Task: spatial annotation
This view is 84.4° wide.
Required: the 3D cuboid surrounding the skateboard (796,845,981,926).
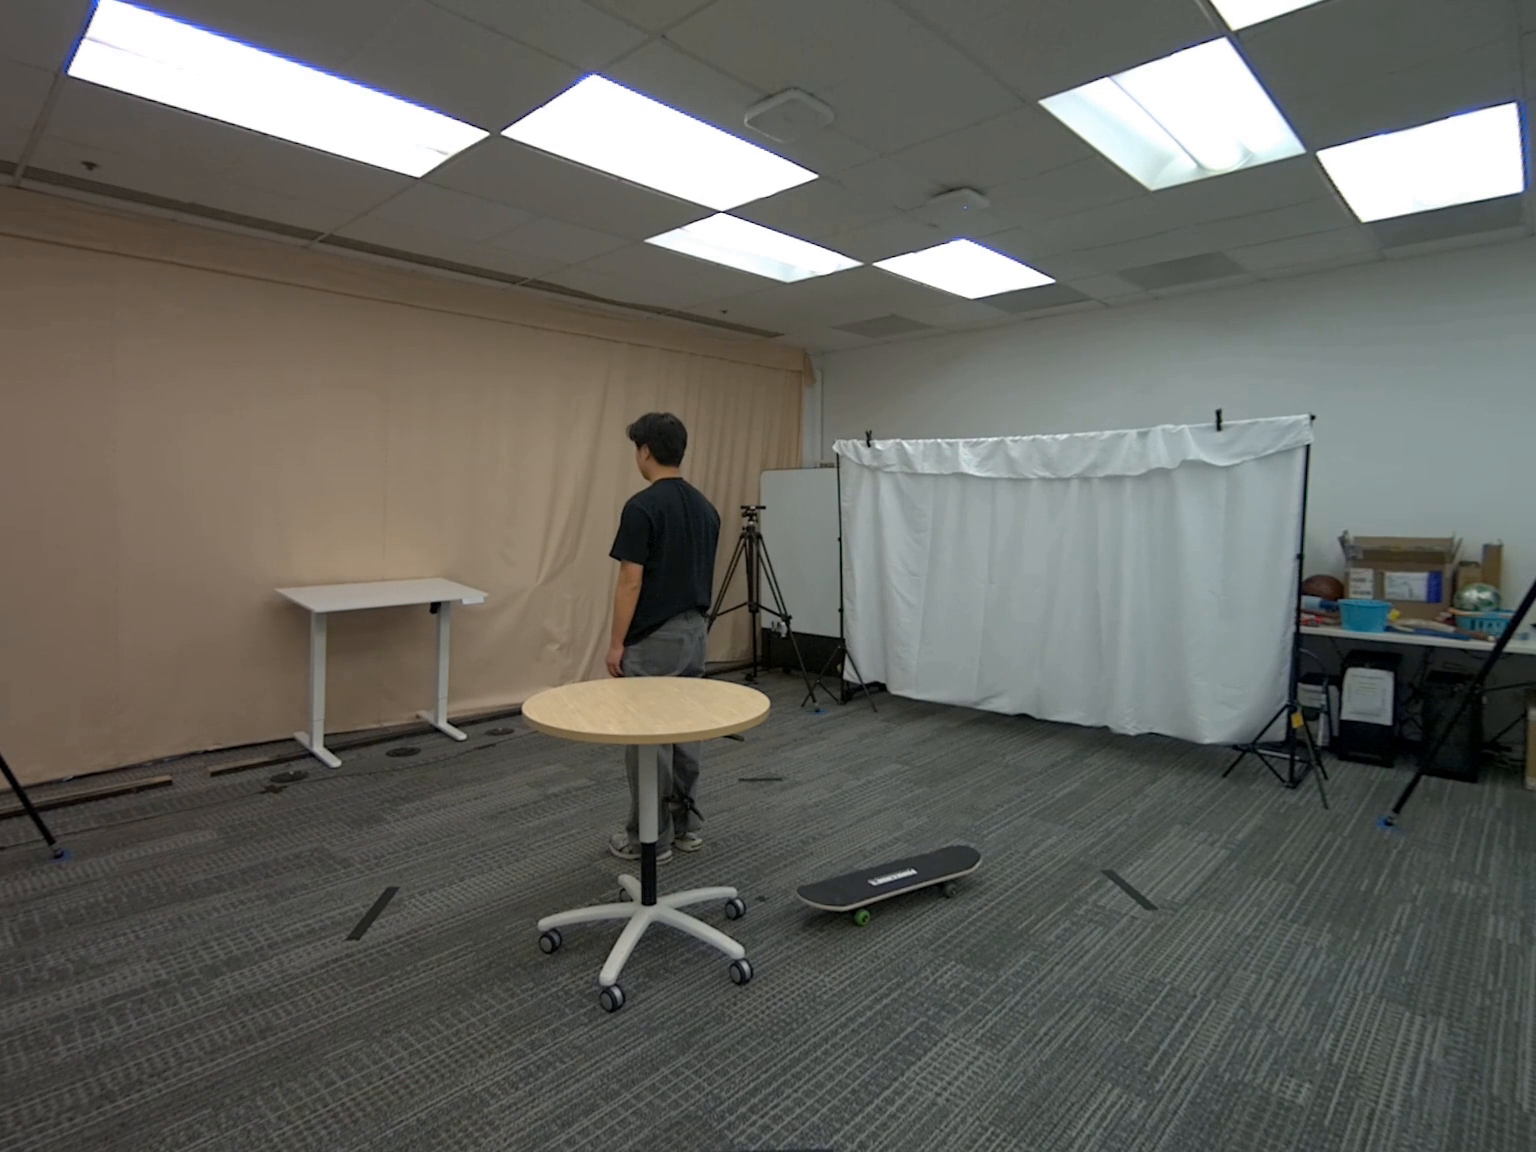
[{"bbox_3d":[0.440,1.086,2.958,0.765,0.110,0.199,-3,6,-30],"label":"skateboard"}]
